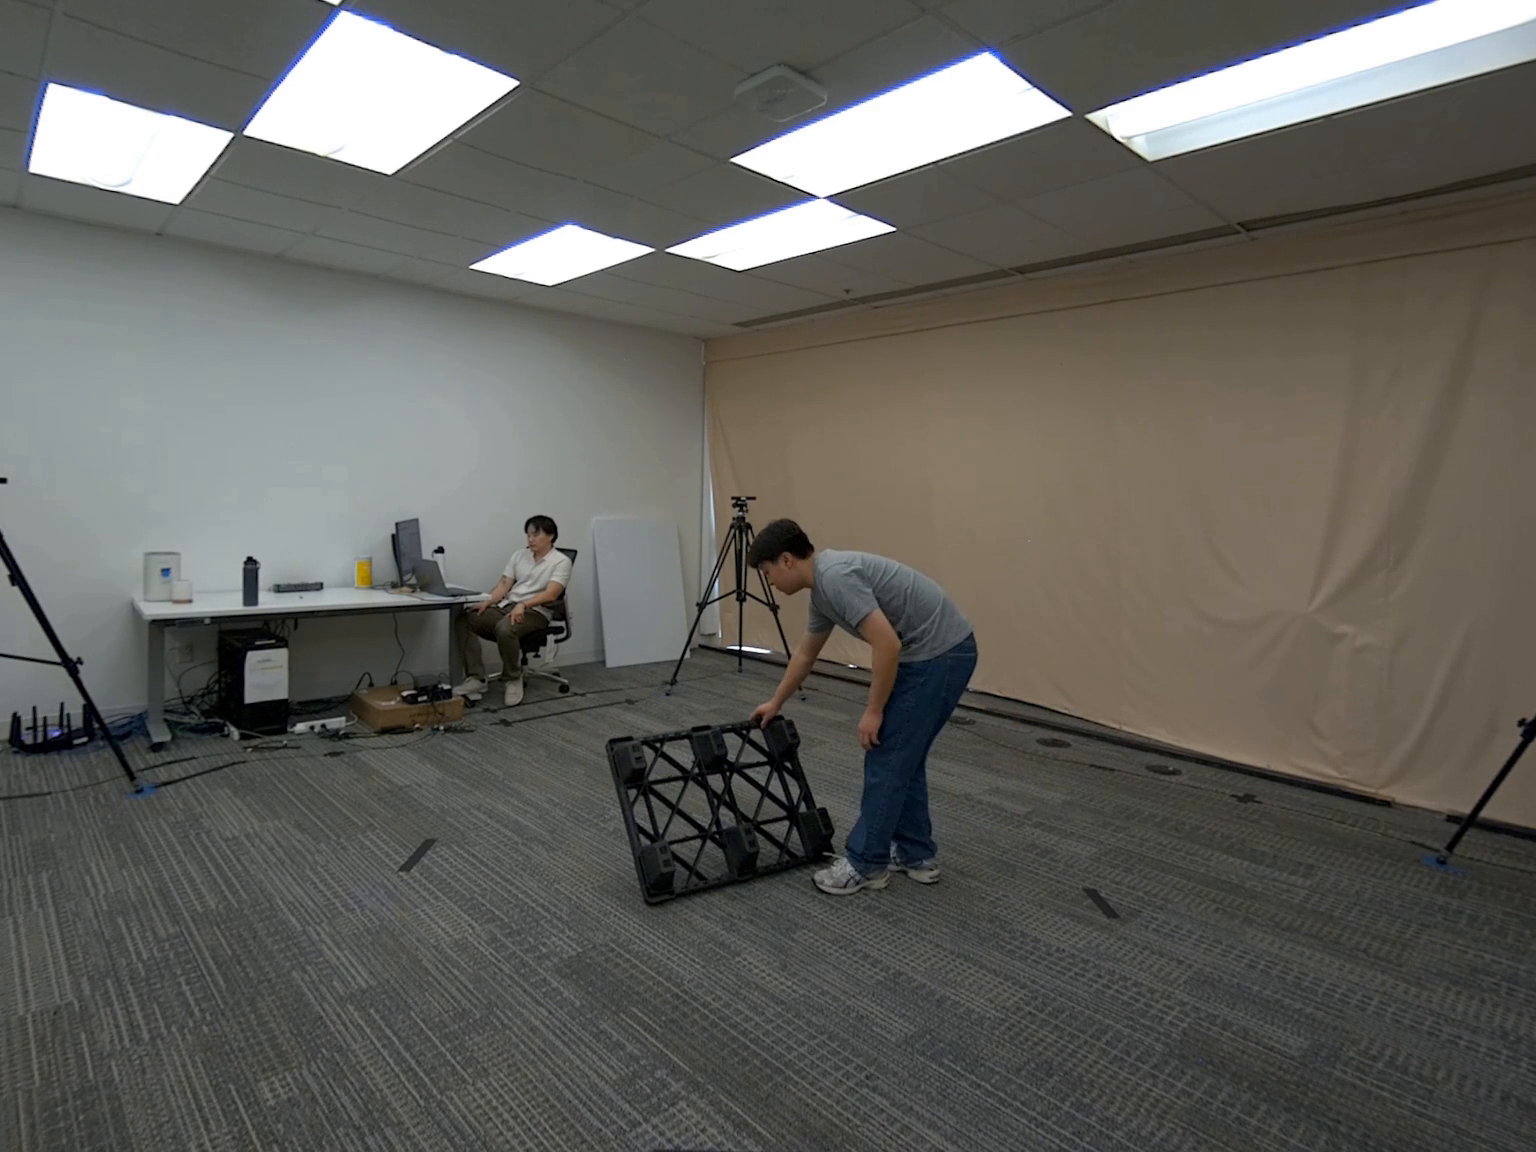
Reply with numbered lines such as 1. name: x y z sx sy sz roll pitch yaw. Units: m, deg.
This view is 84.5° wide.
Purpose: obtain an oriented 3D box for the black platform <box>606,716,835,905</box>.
1. black platform: -0.164 0.829 3.161 0.789 0.620 0.142 -2 -35 -31
